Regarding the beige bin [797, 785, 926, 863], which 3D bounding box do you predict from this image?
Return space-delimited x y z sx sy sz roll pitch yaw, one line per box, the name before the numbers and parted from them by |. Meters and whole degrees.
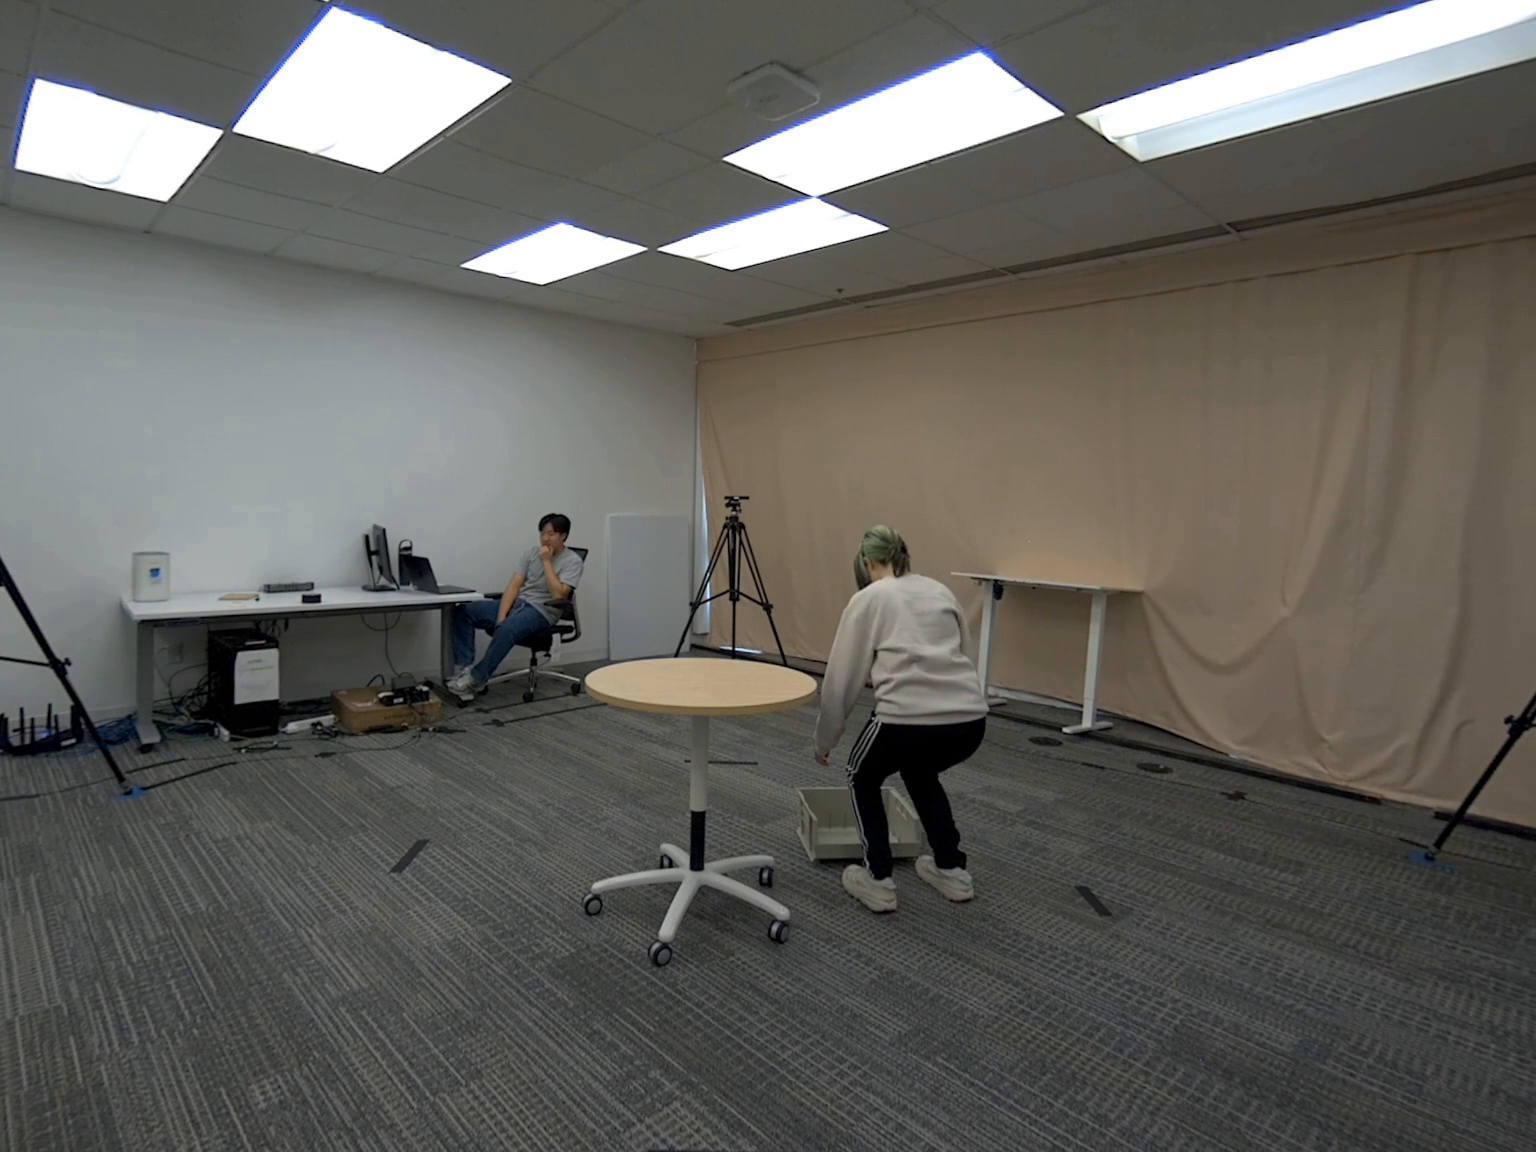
beige bin | 0.347 1.004 3.384 0.420 0.188 0.381 0 4 -8
